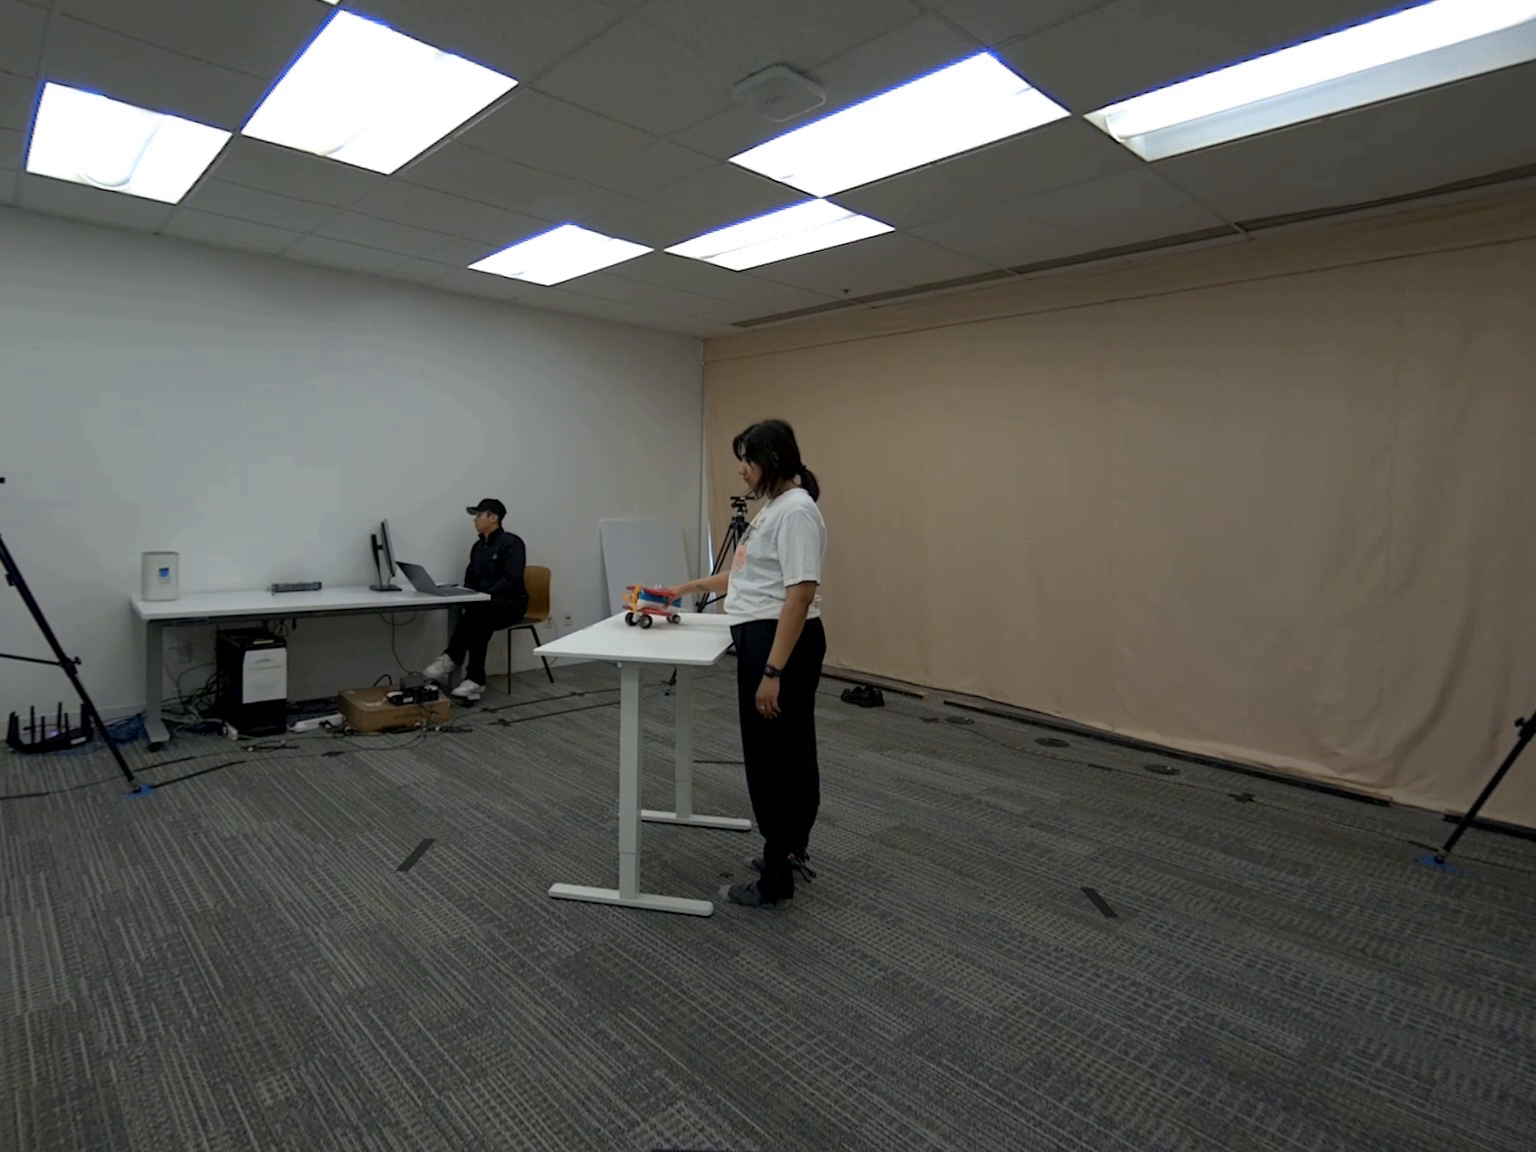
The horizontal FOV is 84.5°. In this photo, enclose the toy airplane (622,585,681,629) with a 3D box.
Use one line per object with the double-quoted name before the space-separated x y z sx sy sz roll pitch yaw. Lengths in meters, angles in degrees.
"toy airplane" -0.468 0.118 3.331 0.254 0.156 0.256 2 5 16
